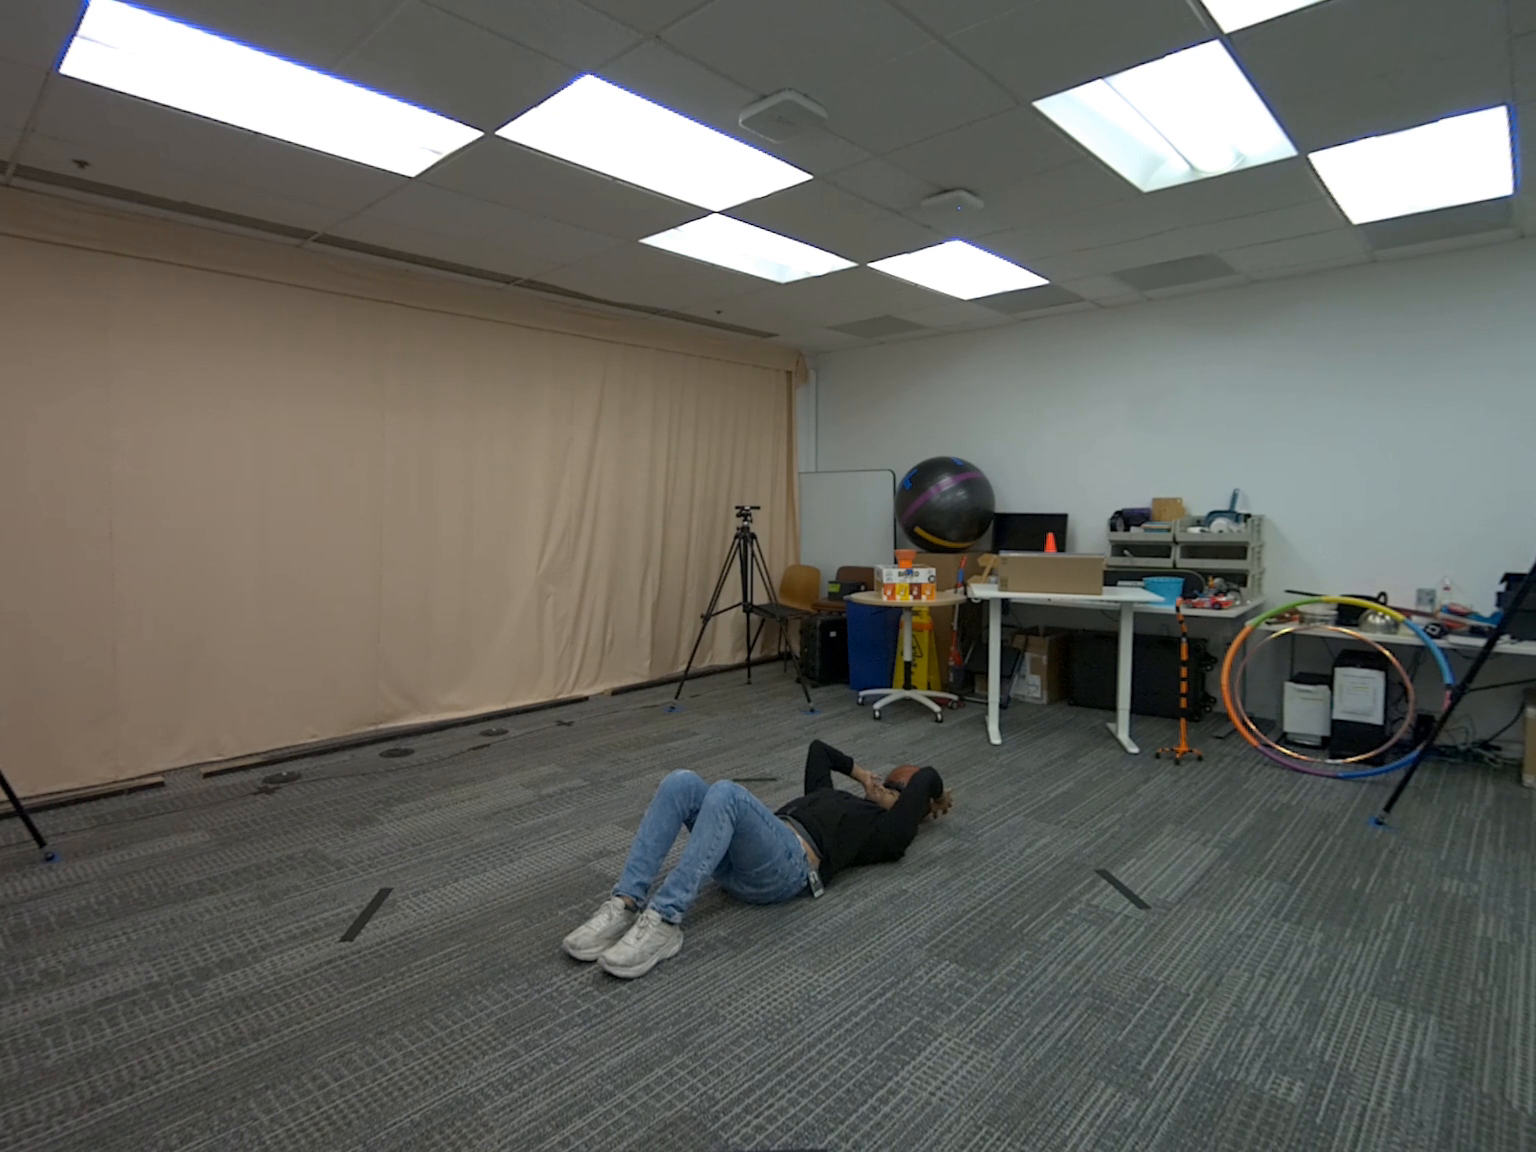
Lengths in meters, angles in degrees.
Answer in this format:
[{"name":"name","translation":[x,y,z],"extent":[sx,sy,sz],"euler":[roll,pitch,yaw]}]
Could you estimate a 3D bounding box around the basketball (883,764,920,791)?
[{"name":"basketball","translation":[0.633,0.962,3.740],"extent":[0.236,0.235,0.237],"euler":[0,4,-2]}]
